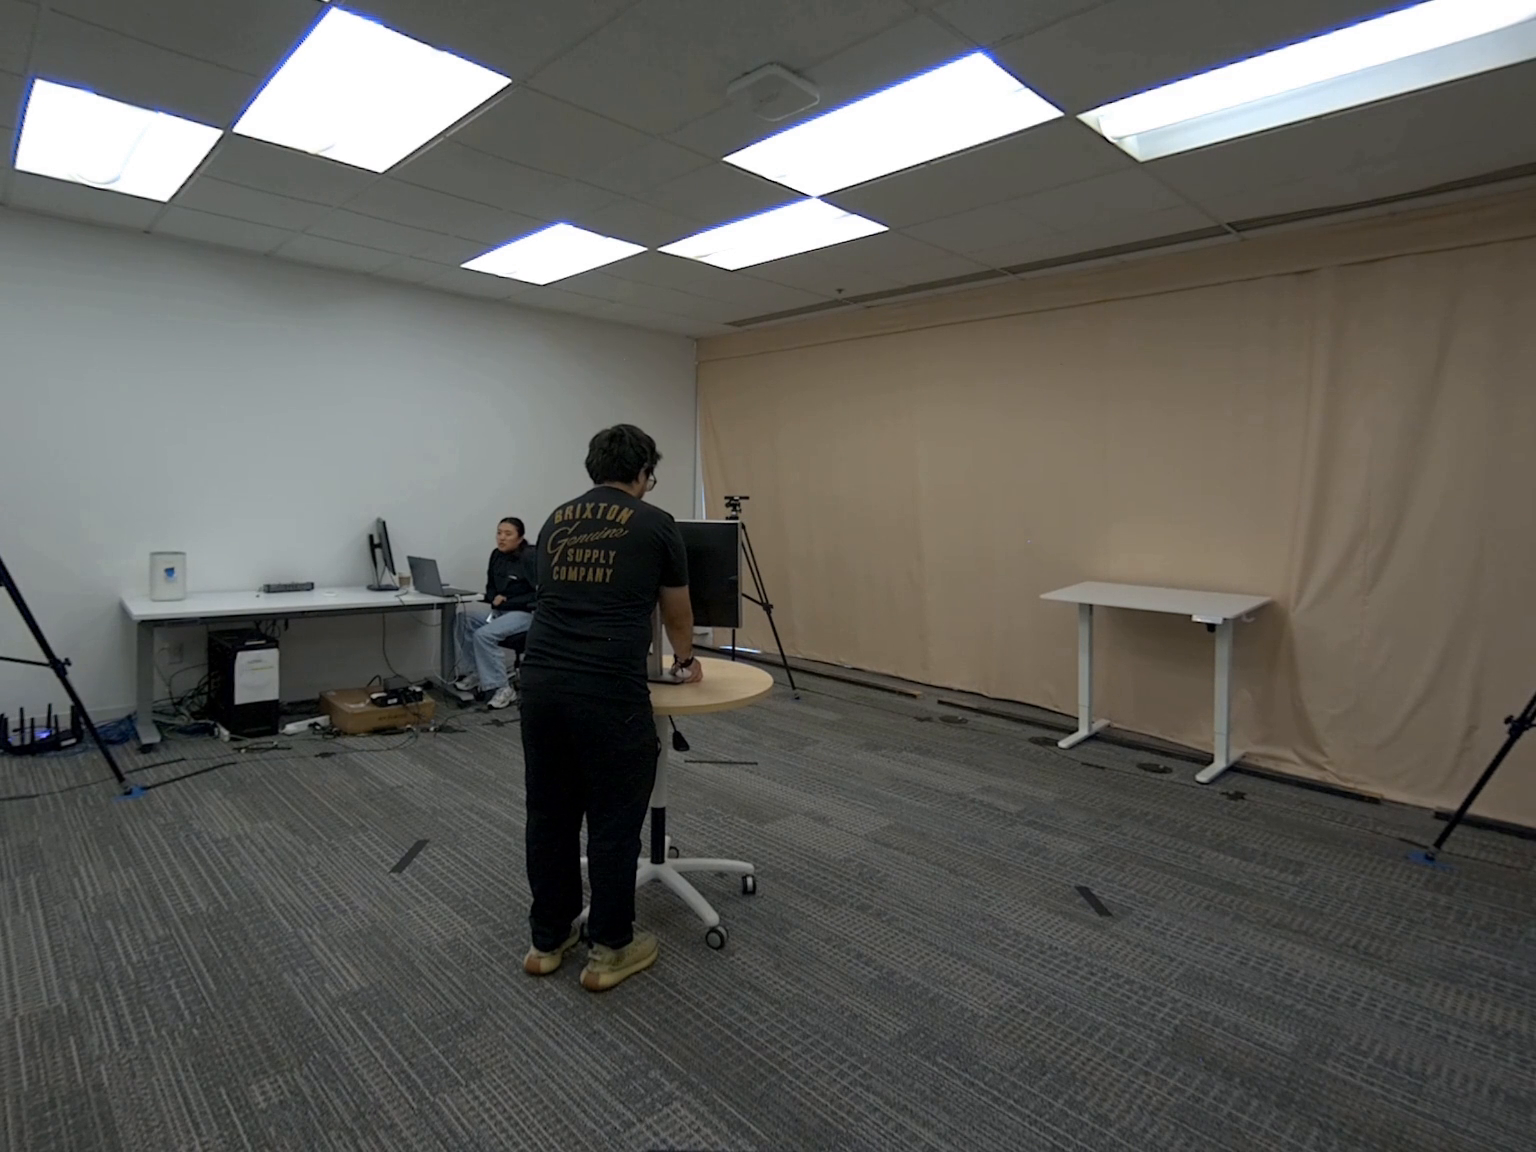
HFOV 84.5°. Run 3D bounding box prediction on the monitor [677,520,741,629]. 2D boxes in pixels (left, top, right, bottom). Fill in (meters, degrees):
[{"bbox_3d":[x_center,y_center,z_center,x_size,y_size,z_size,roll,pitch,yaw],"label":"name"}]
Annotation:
[{"bbox_3d":[-0.382,0.084,2.824,0.574,0.552,0.208,2,5,19],"label":"monitor"}]
